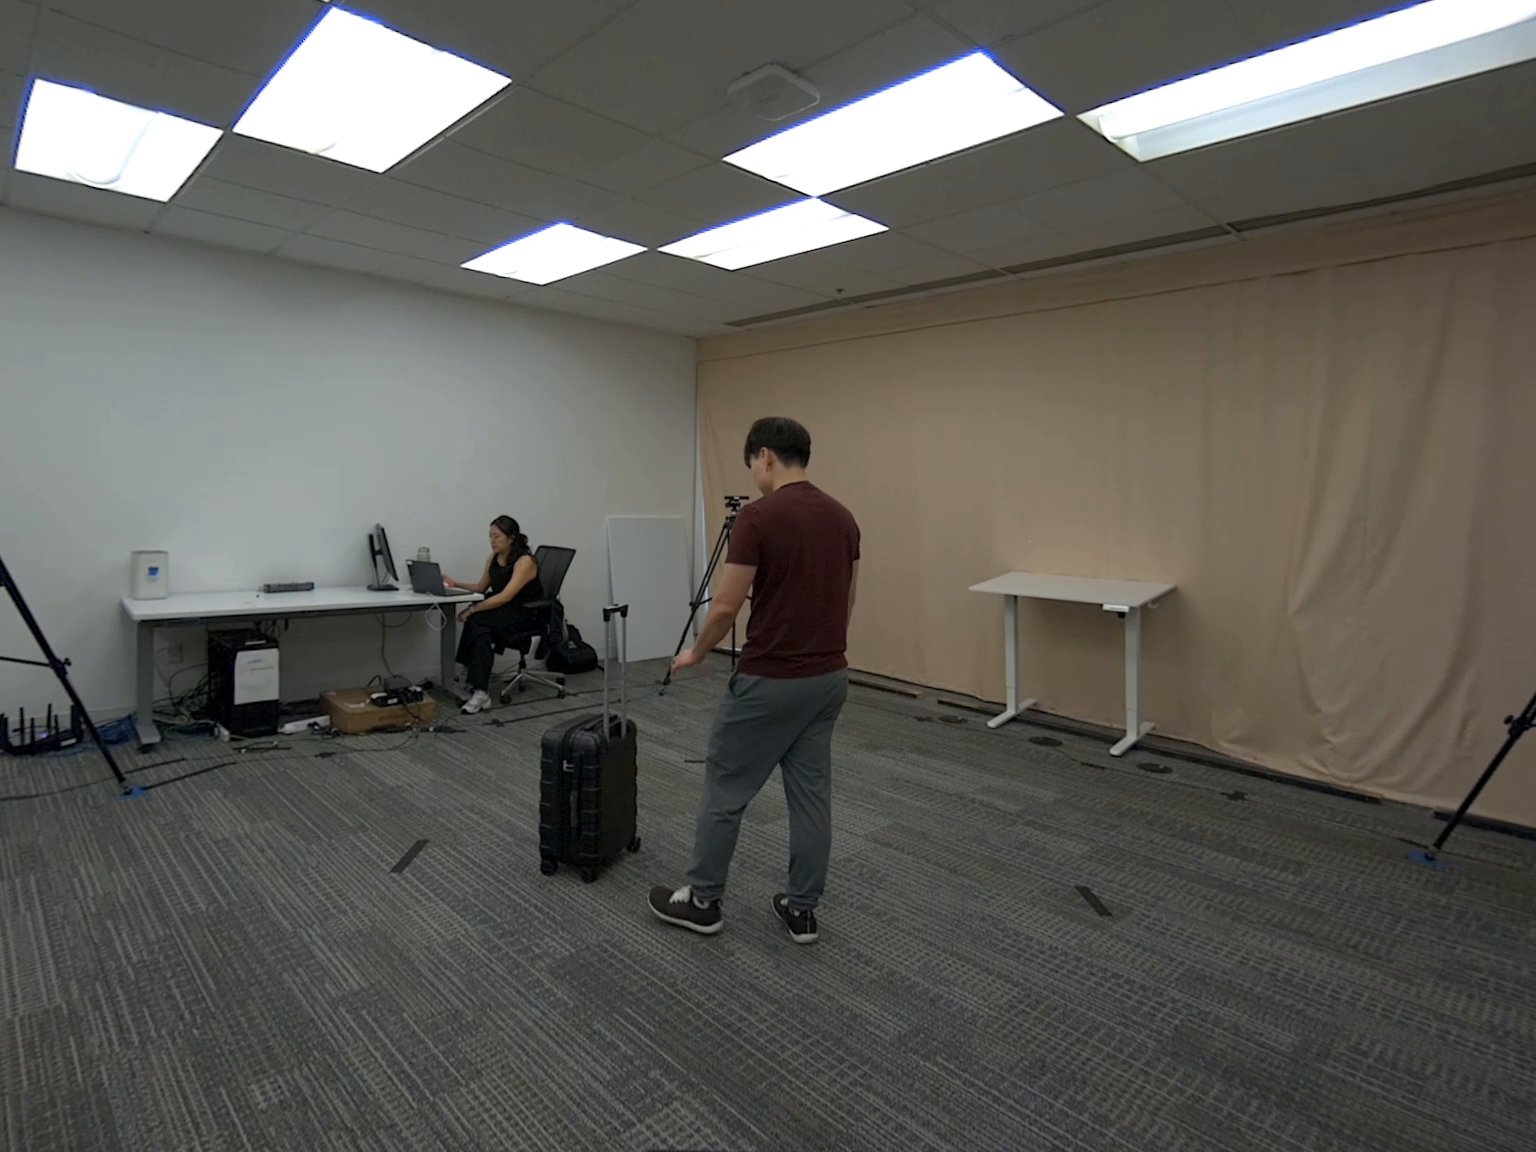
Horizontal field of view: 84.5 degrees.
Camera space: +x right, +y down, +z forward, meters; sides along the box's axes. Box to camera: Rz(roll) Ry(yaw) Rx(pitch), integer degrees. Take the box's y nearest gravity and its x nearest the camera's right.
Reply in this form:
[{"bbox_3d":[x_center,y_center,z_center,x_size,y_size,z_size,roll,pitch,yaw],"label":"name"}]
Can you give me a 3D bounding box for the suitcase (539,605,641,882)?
[{"bbox_3d":[-0.682,0.608,3.163,0.261,0.977,0.379,0,3,18],"label":"suitcase"}]
